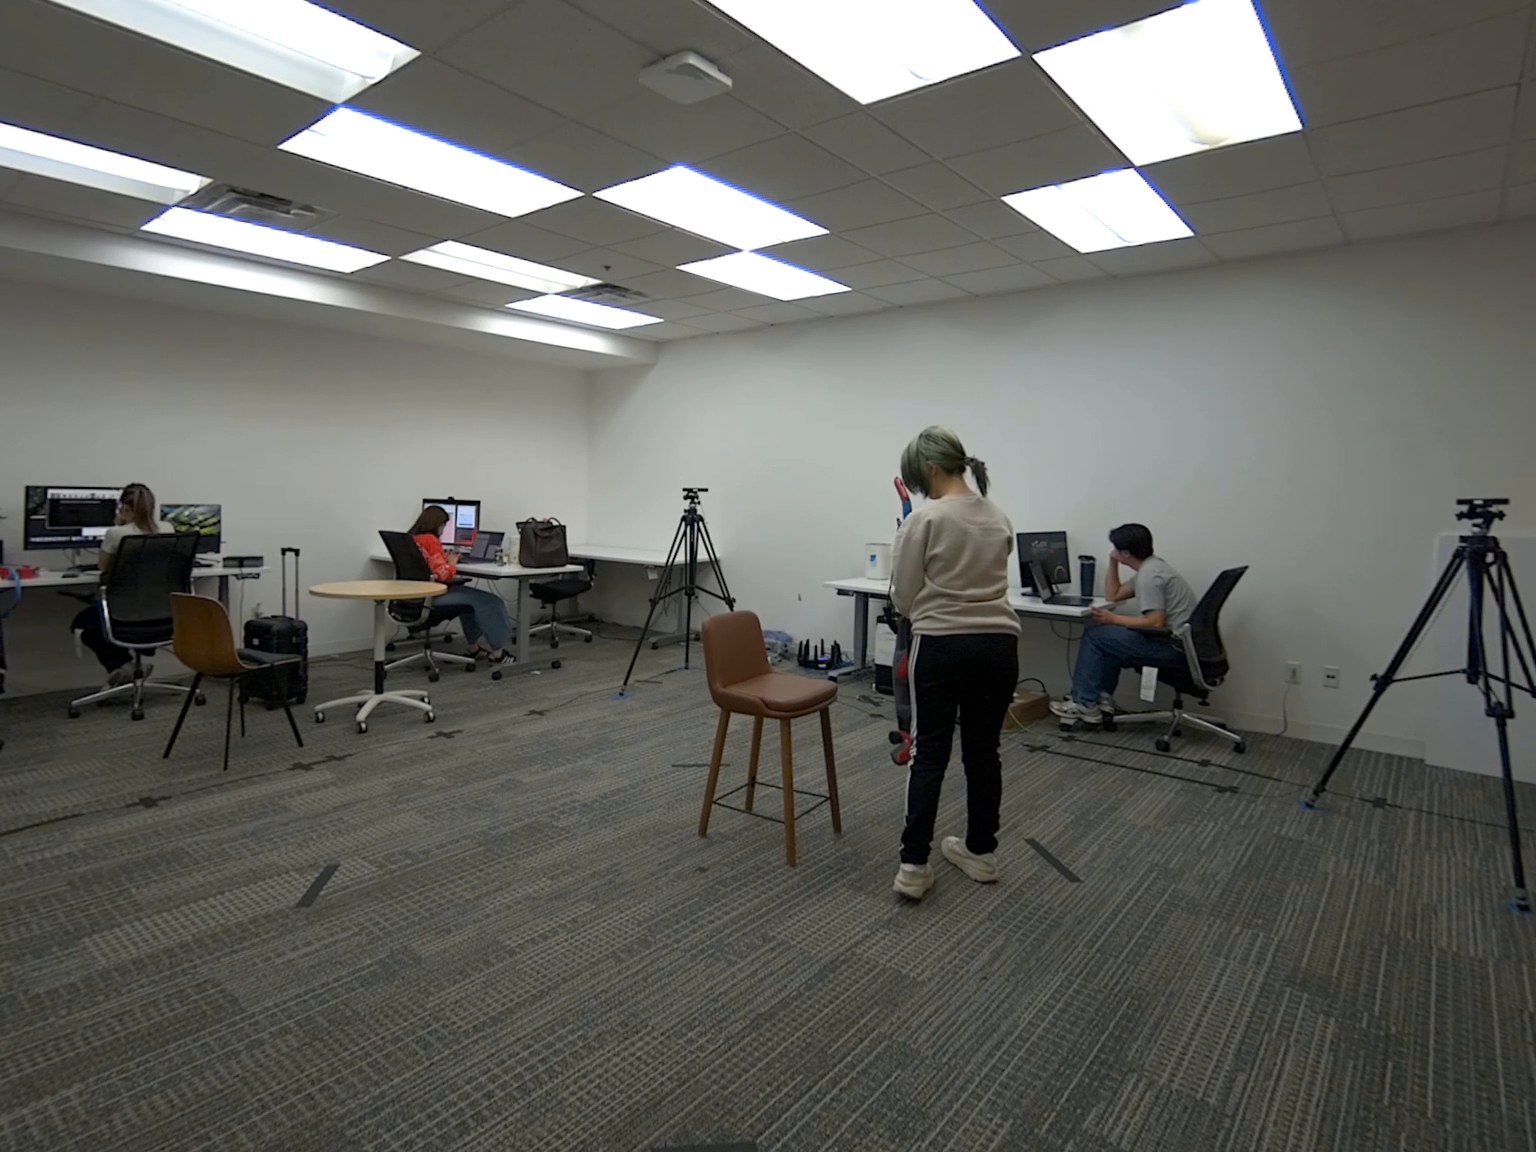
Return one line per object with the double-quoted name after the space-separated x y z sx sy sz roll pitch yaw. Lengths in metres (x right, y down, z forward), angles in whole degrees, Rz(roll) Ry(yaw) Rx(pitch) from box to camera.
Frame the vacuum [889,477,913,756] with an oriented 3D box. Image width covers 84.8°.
0.538 0.132 3.365 0.248 1.054 0.146 -1 -5 -19 "vacuum"
